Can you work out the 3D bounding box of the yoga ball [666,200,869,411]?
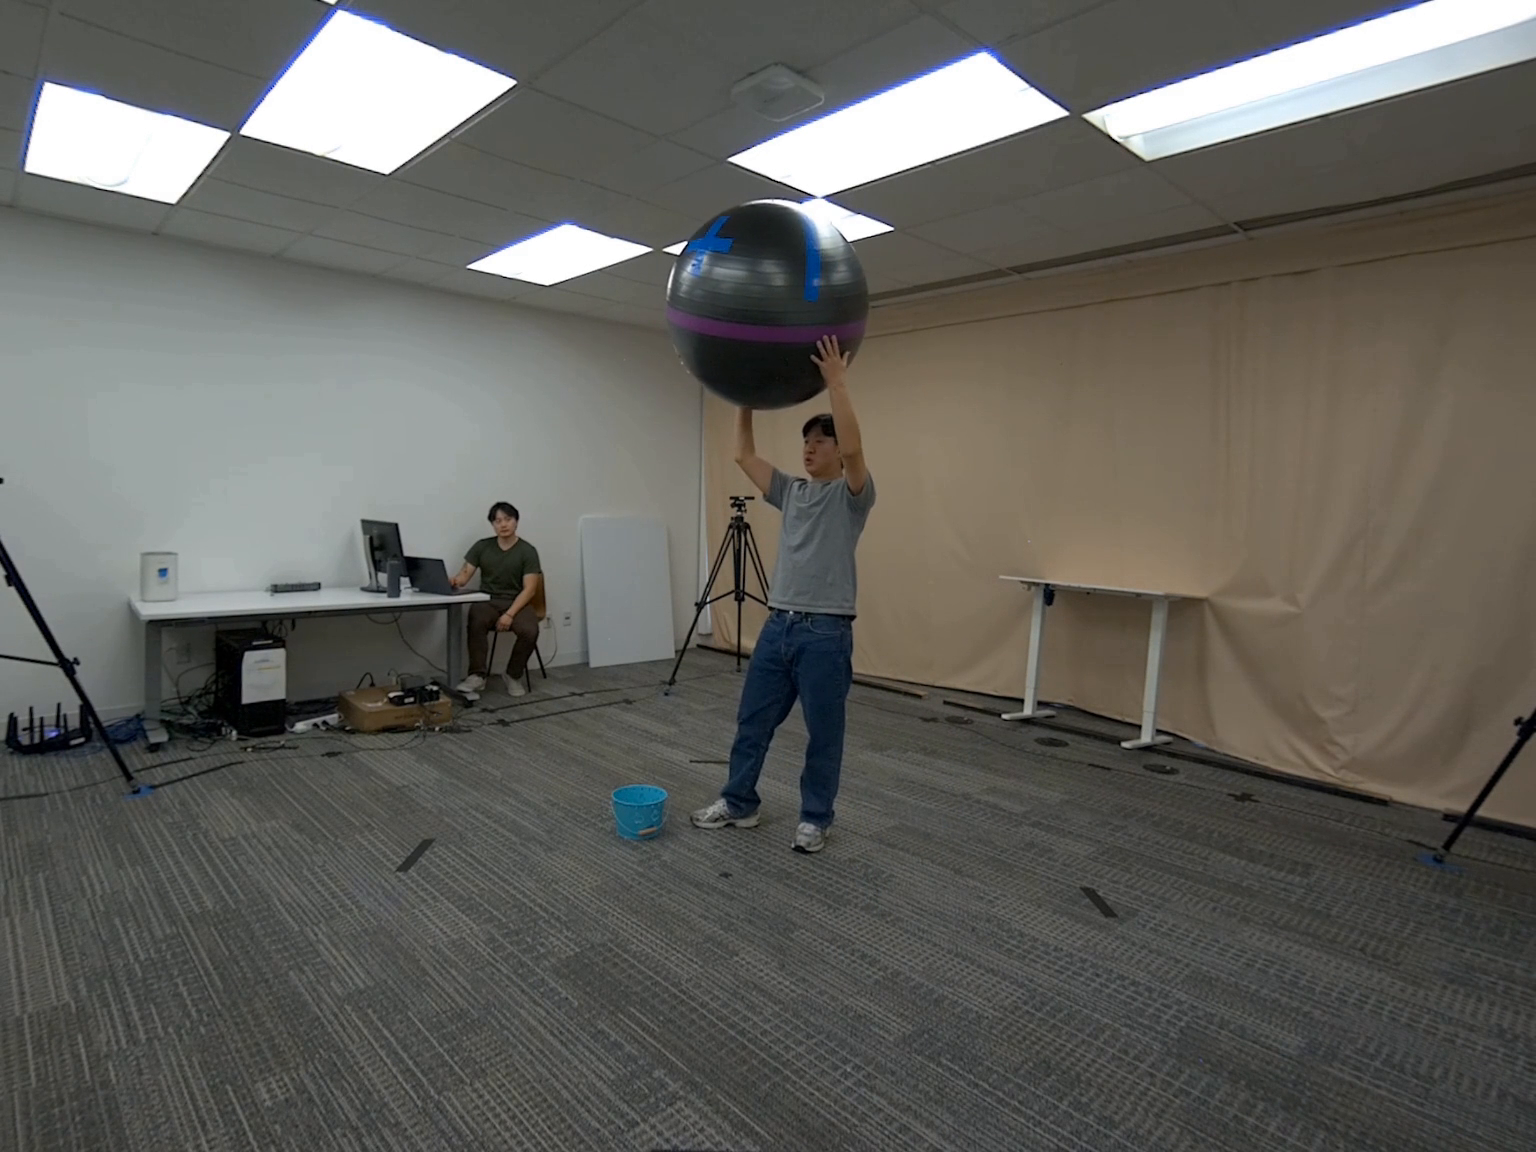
[{"bbox_3d":[-0.006,-1.010,3.186,0.757,0.756,0.761,1,4,-1],"label":"yoga ball"}]
